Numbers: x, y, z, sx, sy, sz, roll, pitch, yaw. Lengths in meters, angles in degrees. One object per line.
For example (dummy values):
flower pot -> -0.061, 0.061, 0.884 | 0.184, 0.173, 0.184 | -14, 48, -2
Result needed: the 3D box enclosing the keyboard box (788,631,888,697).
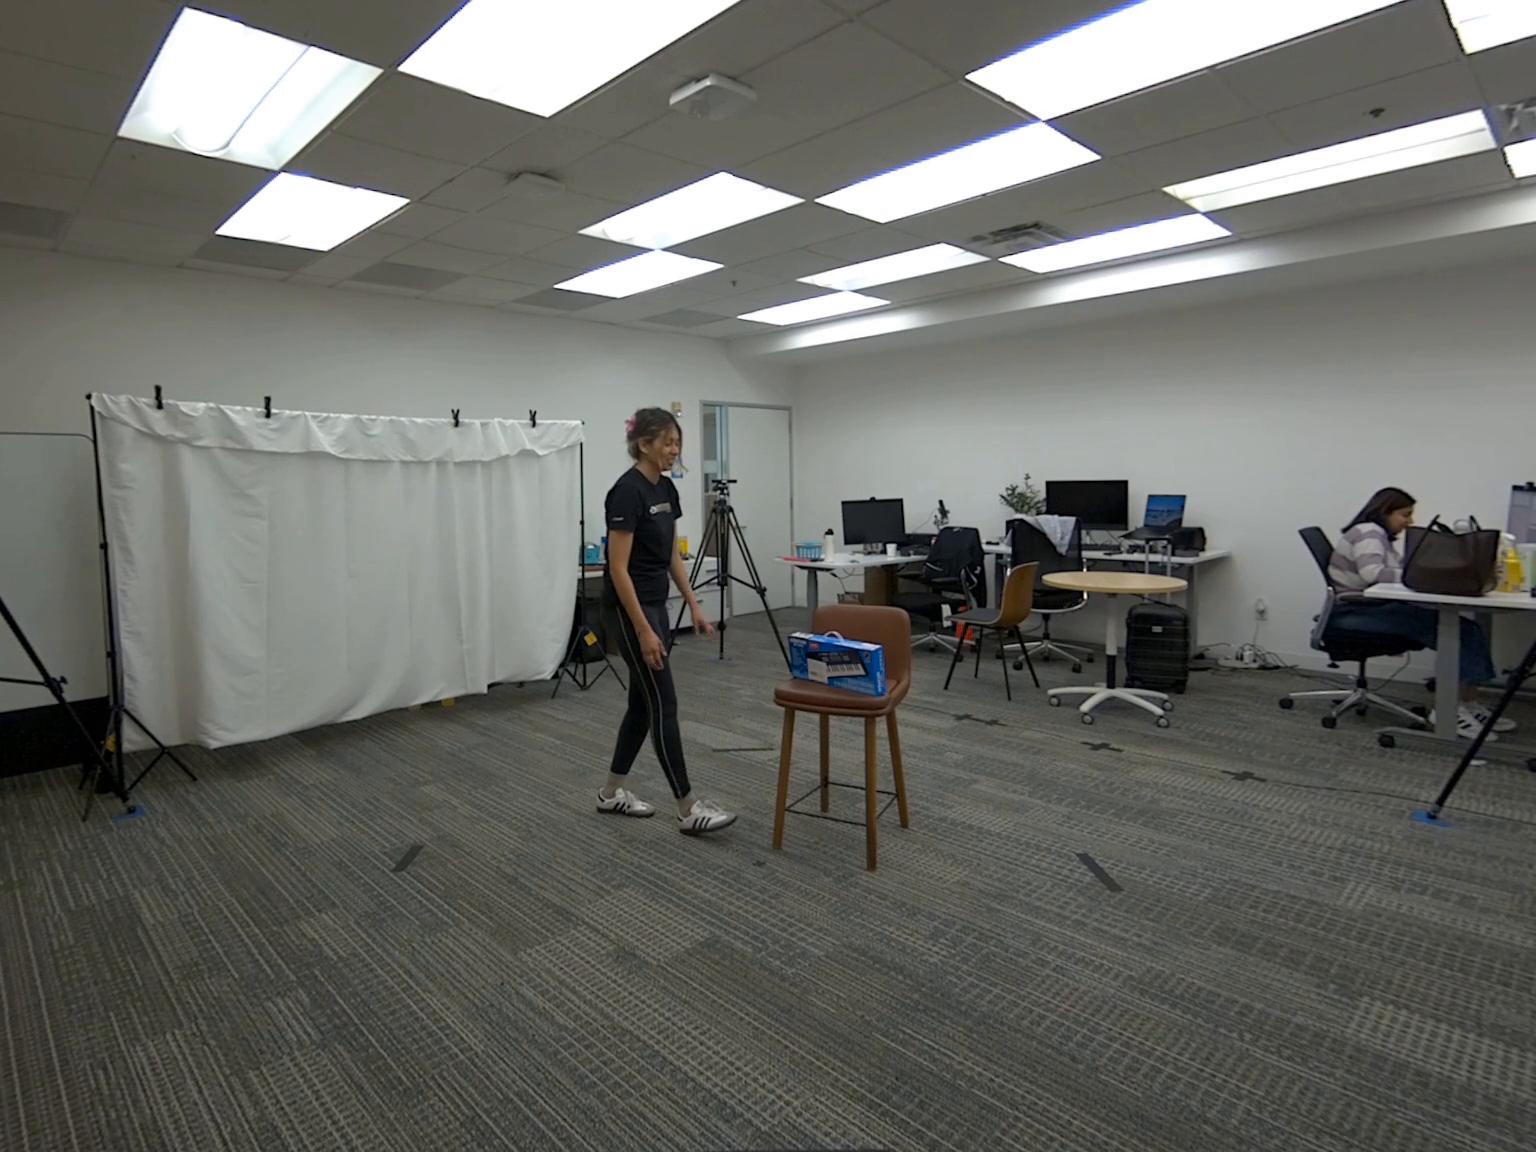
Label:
keyboard box -> 0.245, 0.330, 3.229 | 0.058, 0.174, 0.450 | -13, 11, -39
